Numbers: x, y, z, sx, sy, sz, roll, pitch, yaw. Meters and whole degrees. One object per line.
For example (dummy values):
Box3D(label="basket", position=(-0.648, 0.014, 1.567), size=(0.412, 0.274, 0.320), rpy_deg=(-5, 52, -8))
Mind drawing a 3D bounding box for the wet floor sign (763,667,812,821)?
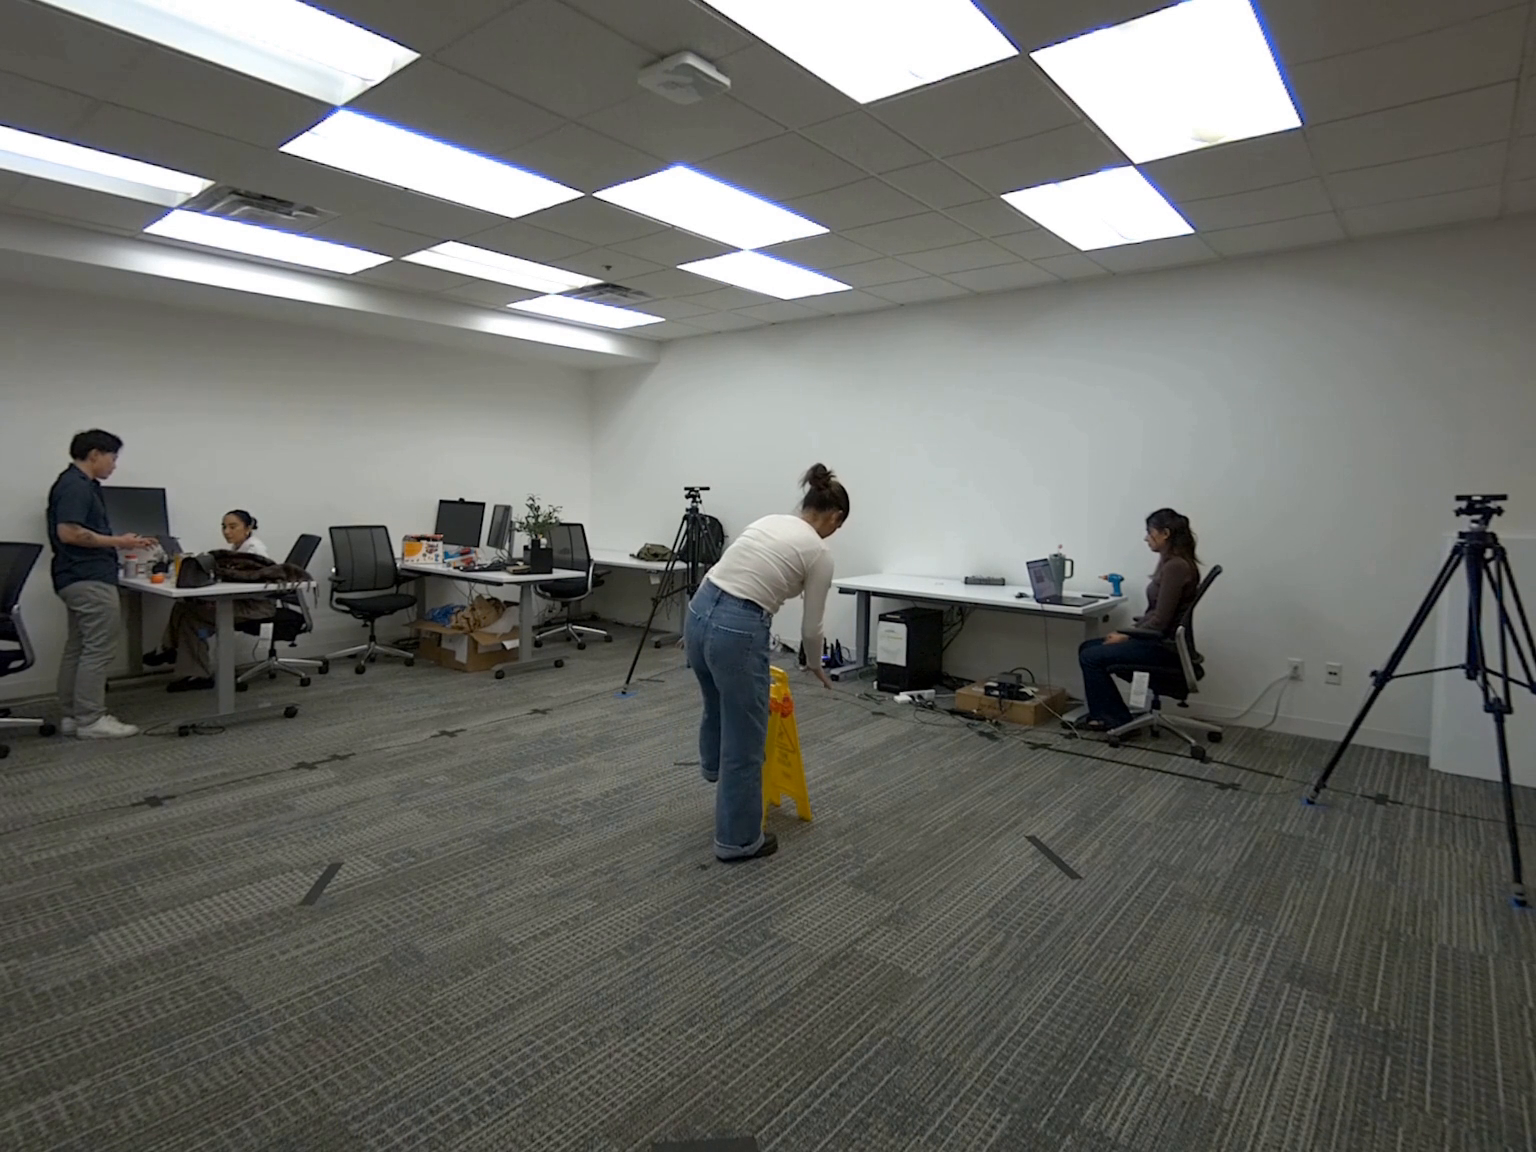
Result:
Box3D(label="wet floor sign", position=(-0.006, 0.695, 3.580), size=(0.281, 0.645, 0.291), rpy_deg=(-1, 3, -37))
